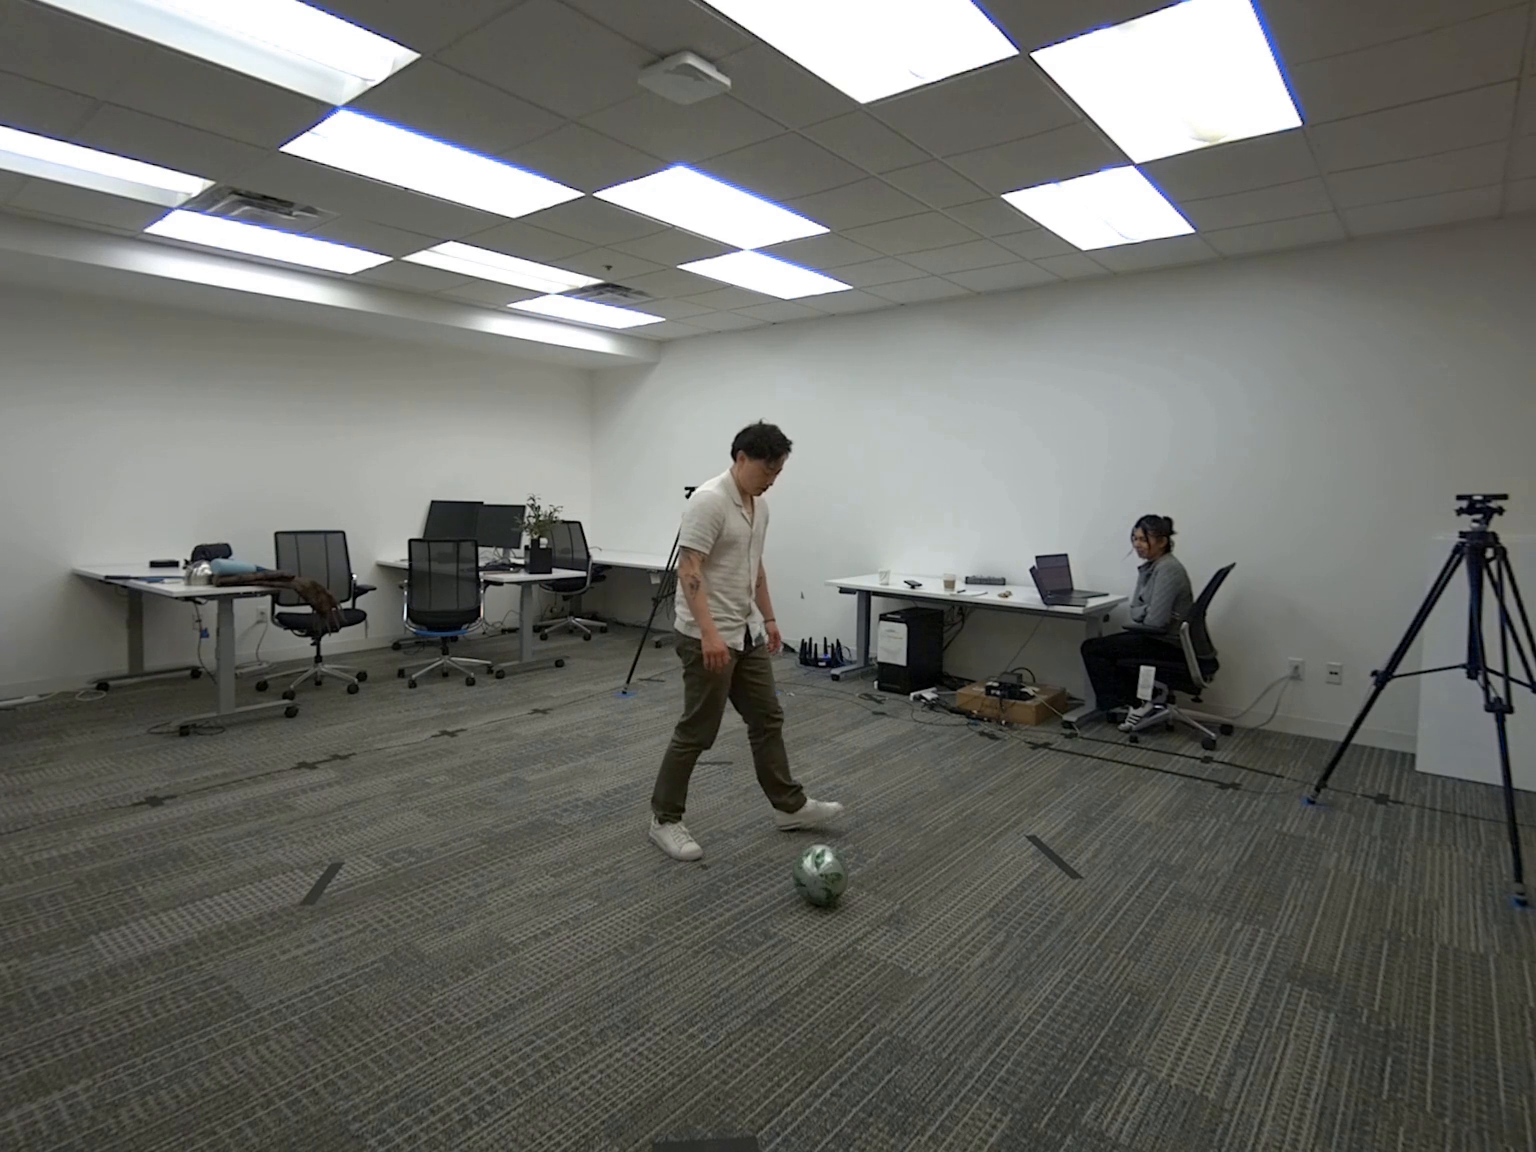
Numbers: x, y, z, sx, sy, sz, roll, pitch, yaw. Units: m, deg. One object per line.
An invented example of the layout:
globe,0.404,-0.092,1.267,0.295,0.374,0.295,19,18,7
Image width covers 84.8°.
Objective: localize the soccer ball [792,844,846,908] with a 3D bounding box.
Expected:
soccer ball,0.168,0.998,2.859,0.187,0.187,0.188,1,4,-2
